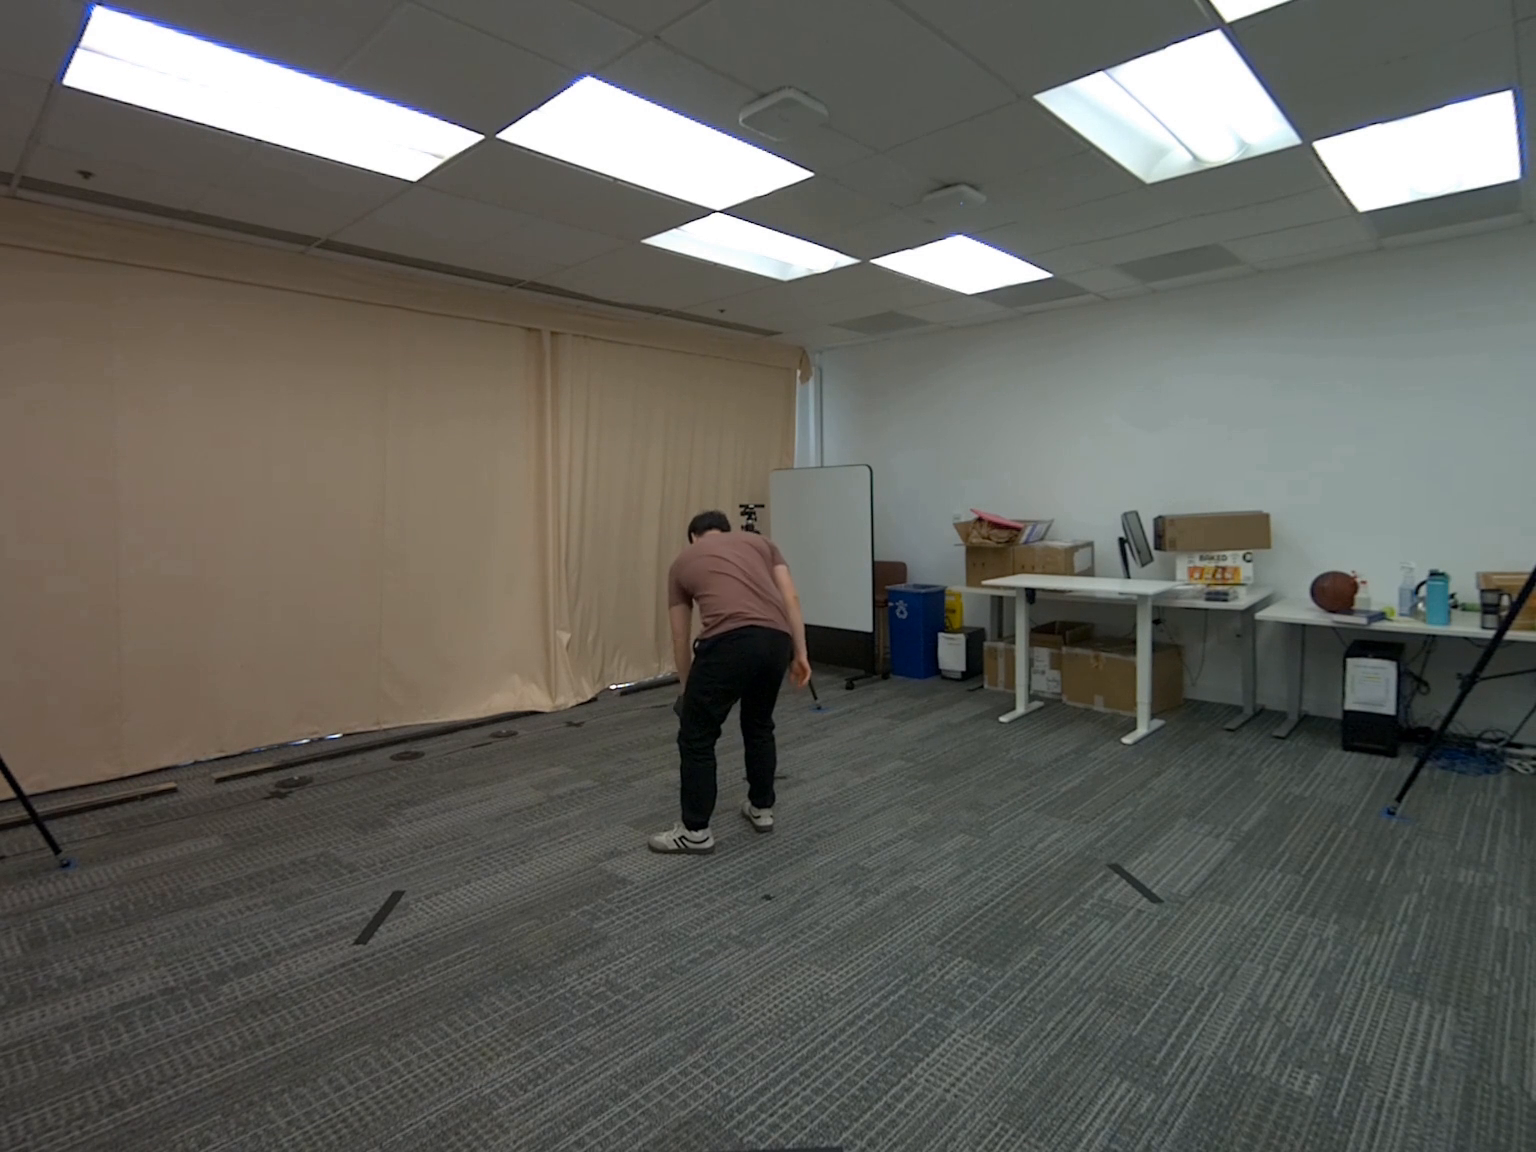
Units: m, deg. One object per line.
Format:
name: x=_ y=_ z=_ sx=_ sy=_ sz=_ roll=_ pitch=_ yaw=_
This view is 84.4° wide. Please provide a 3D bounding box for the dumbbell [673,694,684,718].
dumbbell: x=-0.319 y=0.577 z=3.670 sx=0.110 sy=0.123 sz=0.288 roll=22 pitch=-5 yaw=12
